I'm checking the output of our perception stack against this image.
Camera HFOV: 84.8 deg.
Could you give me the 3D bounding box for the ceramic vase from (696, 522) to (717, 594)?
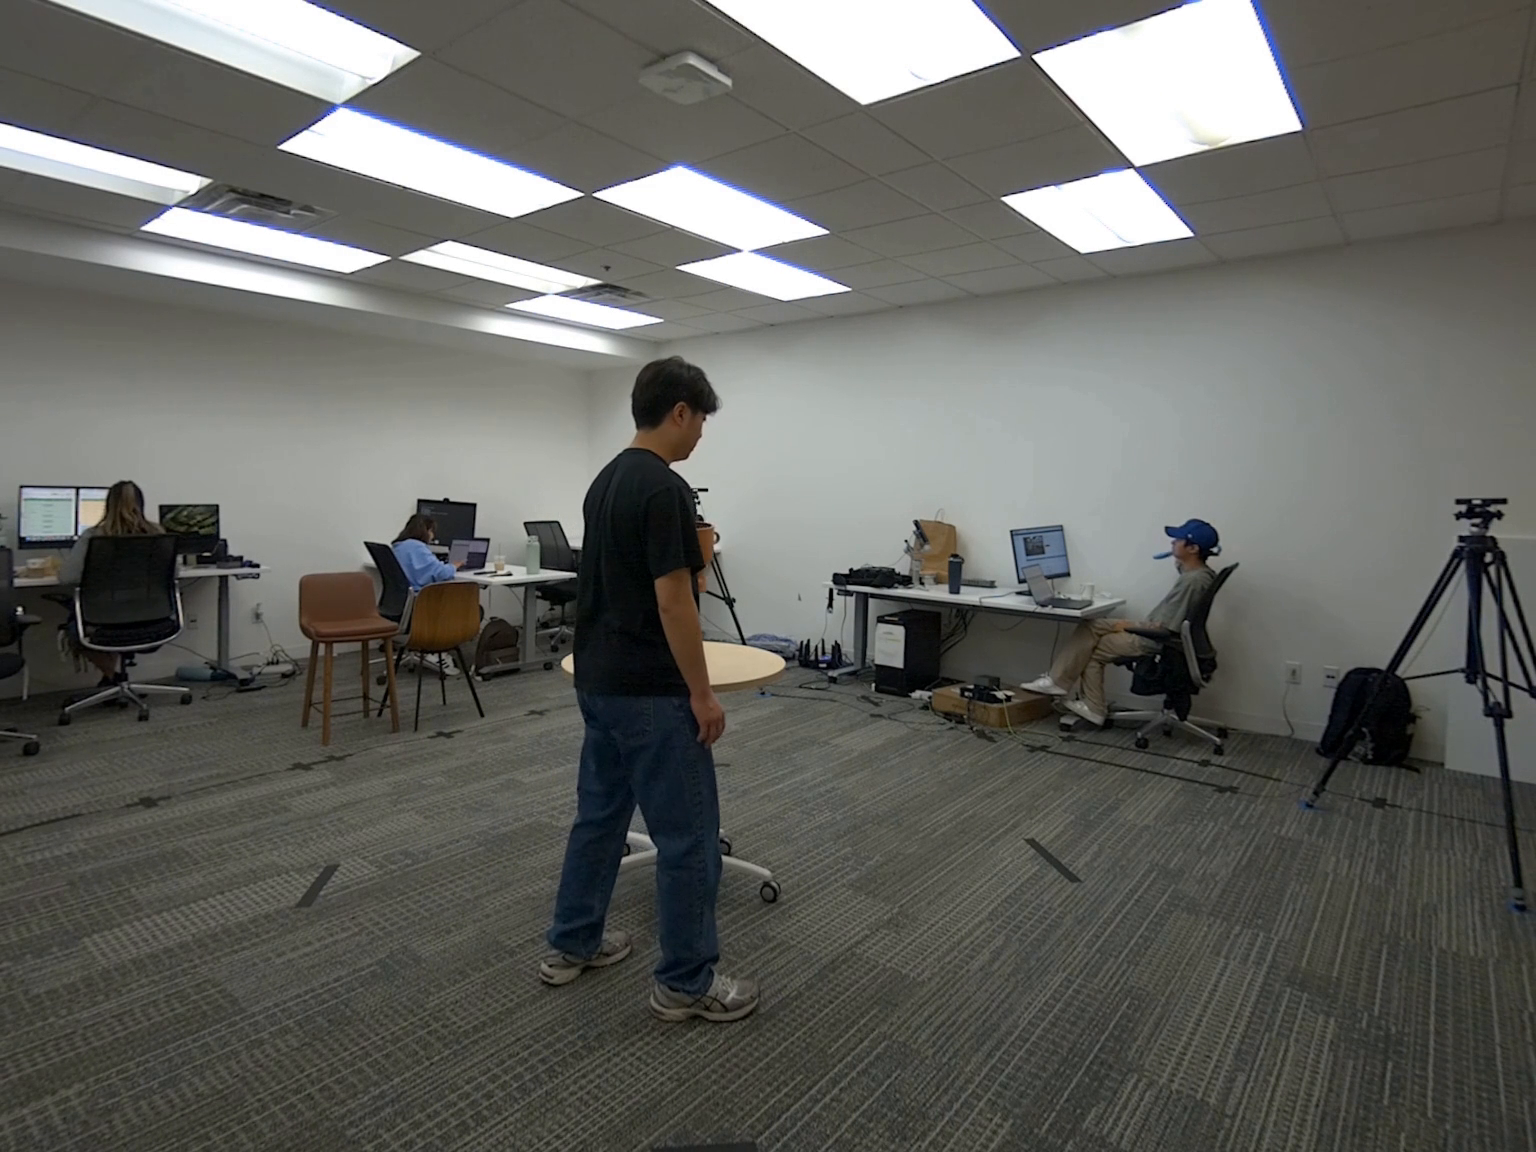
[{"bbox_3d":[-0.253,-0.059,2.784,0.160,0.217,0.135,5,12,6],"label":"ceramic vase"}]
